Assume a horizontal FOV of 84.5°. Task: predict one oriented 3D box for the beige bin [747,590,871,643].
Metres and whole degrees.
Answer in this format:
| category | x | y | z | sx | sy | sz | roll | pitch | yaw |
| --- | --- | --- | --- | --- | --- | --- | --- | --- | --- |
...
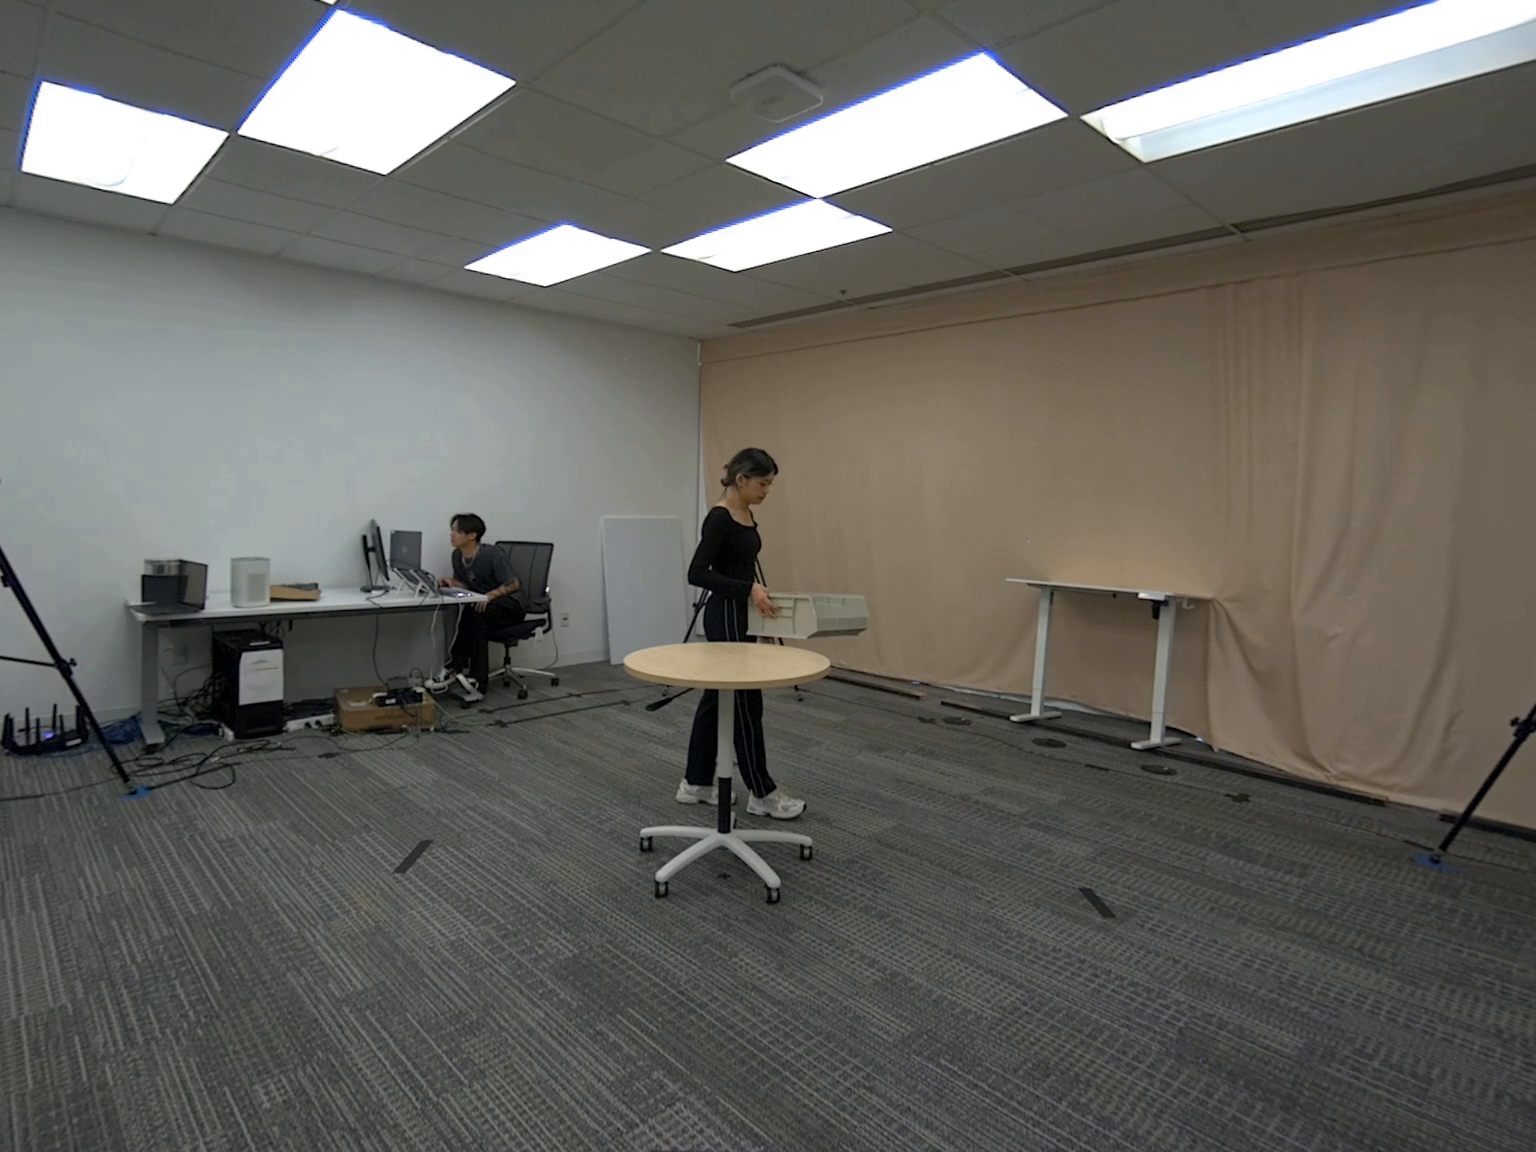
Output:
| category | x | y | z | sx | sy | sz | roll | pitch | yaw |
| --- | --- | --- | --- | --- | --- | --- | --- | --- | --- |
| beige bin | 0.168 | 0.164 | 3.658 | 0.386 | 0.189 | 0.412 | 1 | 1 | 37 |
